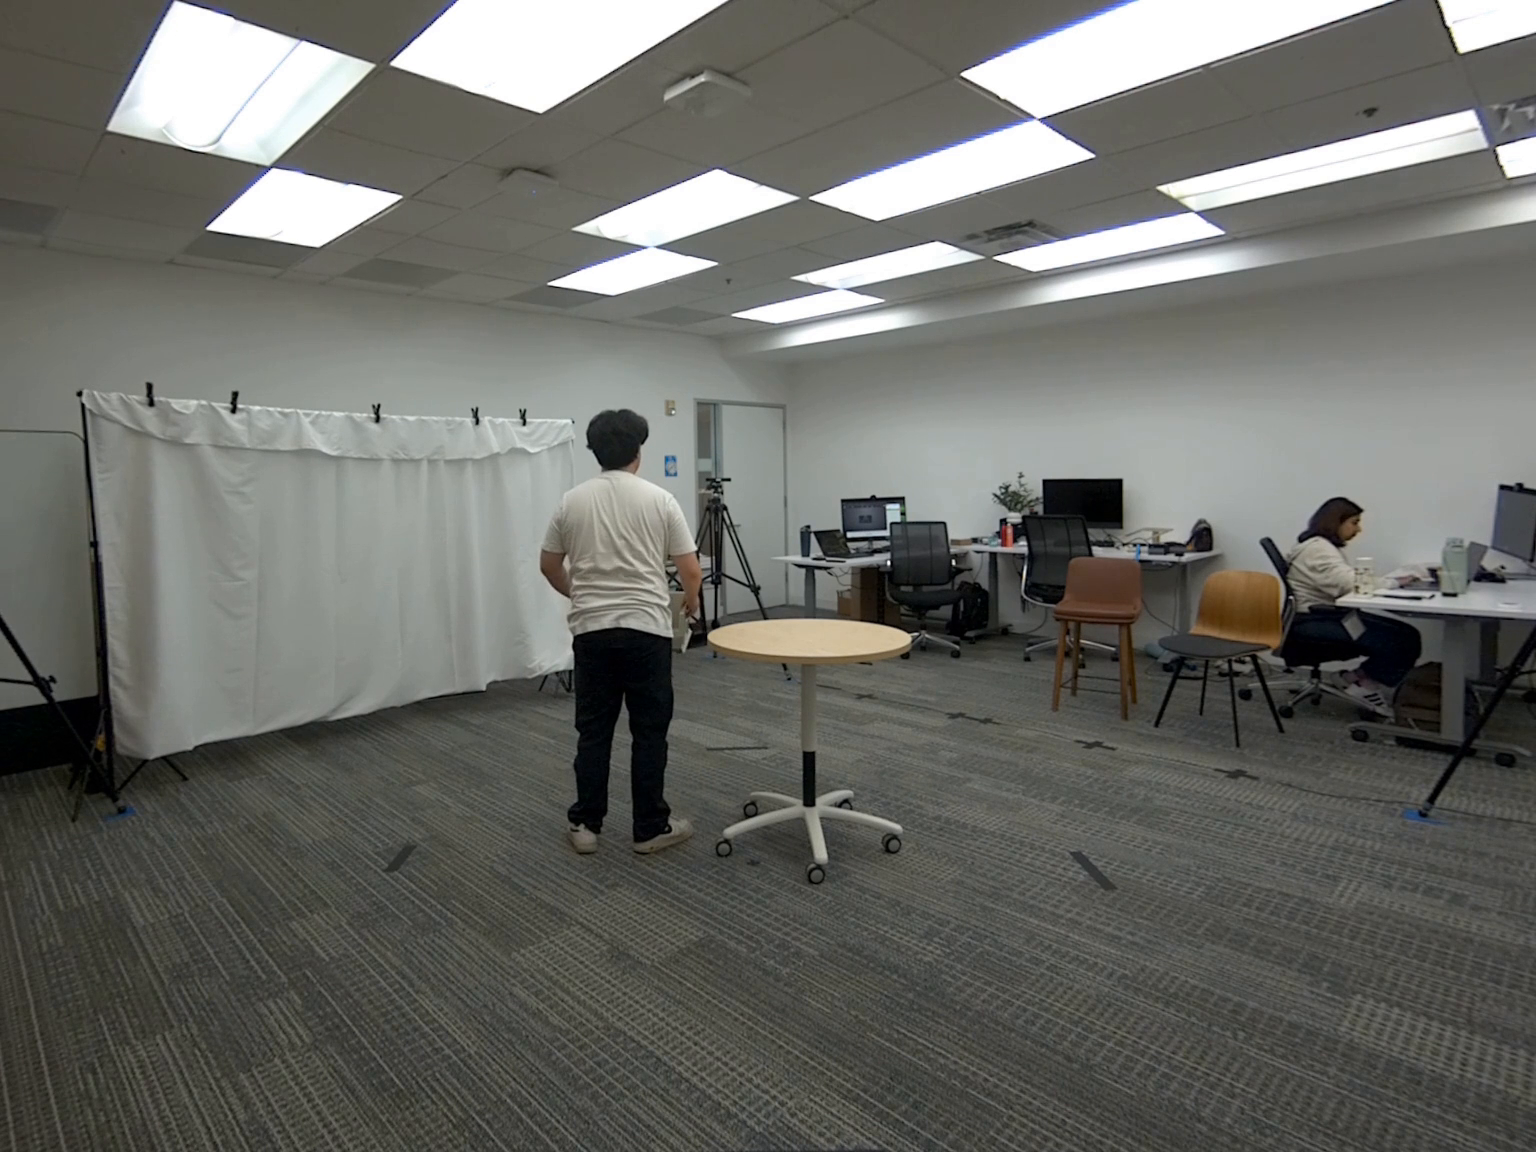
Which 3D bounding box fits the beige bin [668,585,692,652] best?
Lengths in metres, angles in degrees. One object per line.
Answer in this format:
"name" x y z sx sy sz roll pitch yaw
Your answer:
"beige bin" -0.544 0.197 3.609 0.424 0.188 0.378 -1 7 4
